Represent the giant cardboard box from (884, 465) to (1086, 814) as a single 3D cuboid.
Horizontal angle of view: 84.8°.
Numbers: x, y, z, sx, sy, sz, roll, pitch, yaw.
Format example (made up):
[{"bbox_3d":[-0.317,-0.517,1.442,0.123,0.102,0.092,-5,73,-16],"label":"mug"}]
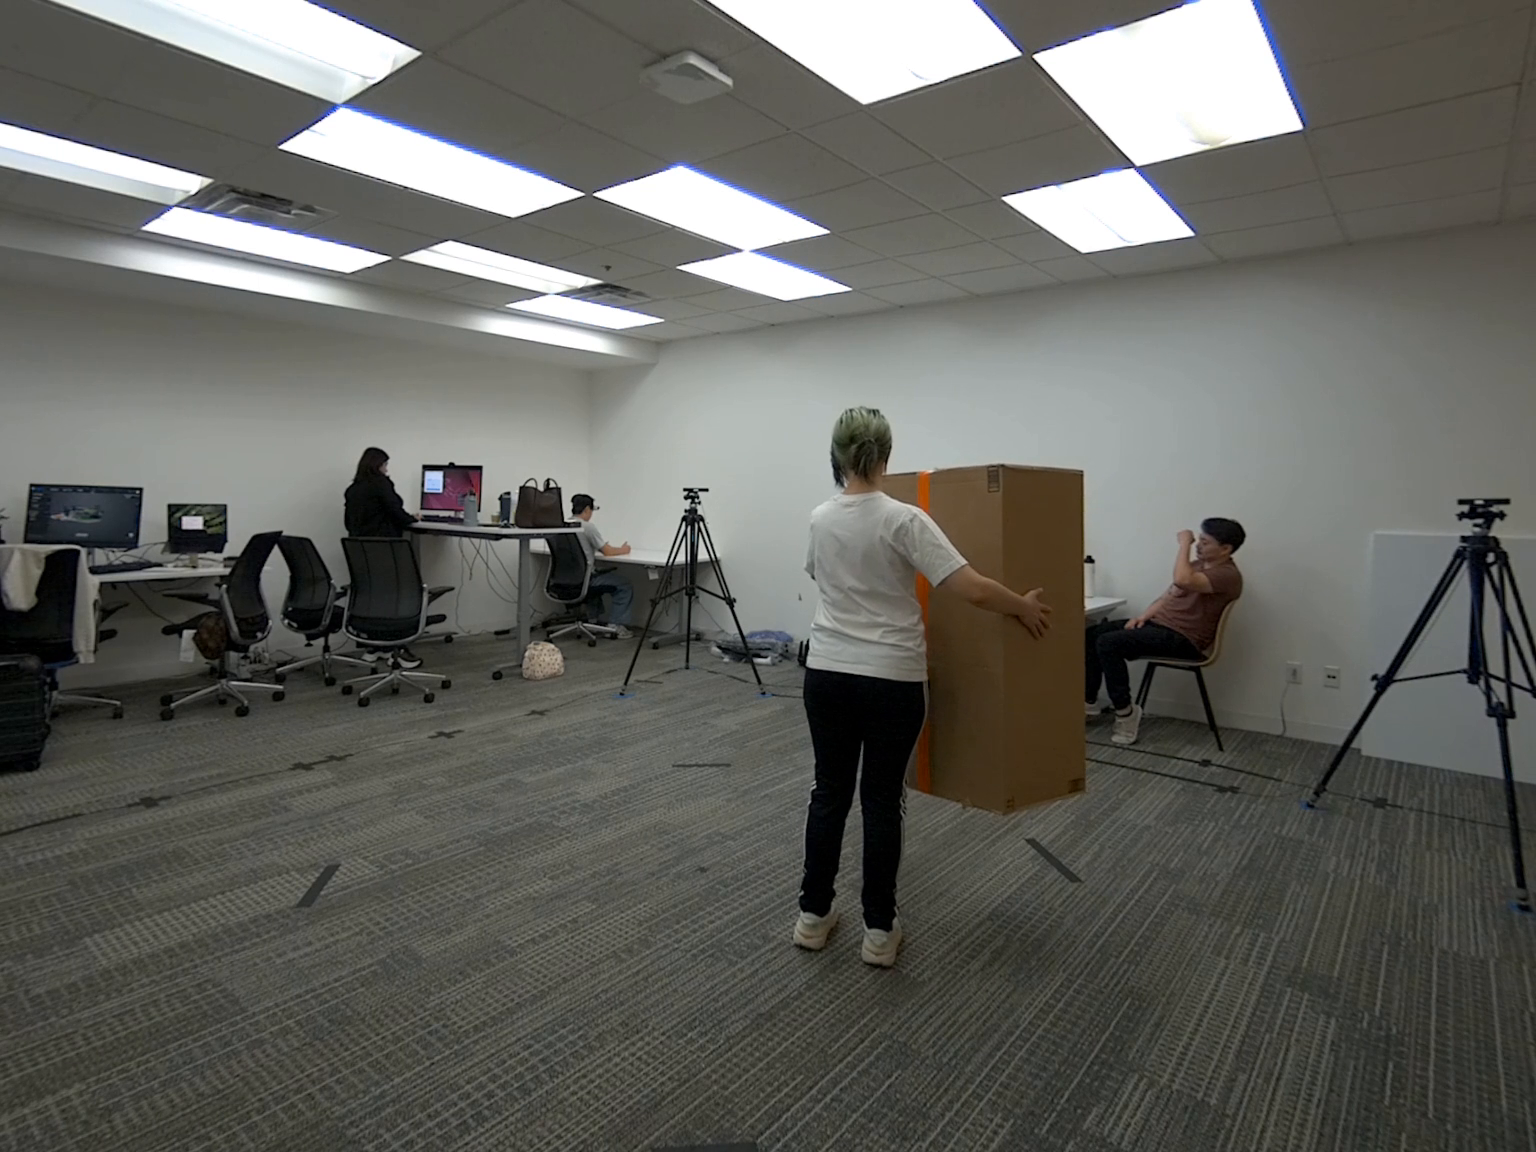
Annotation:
[{"bbox_3d":[0.658,0.169,2.822,0.413,1.027,0.595,0,-1,-37],"label":"giant cardboard box"}]
